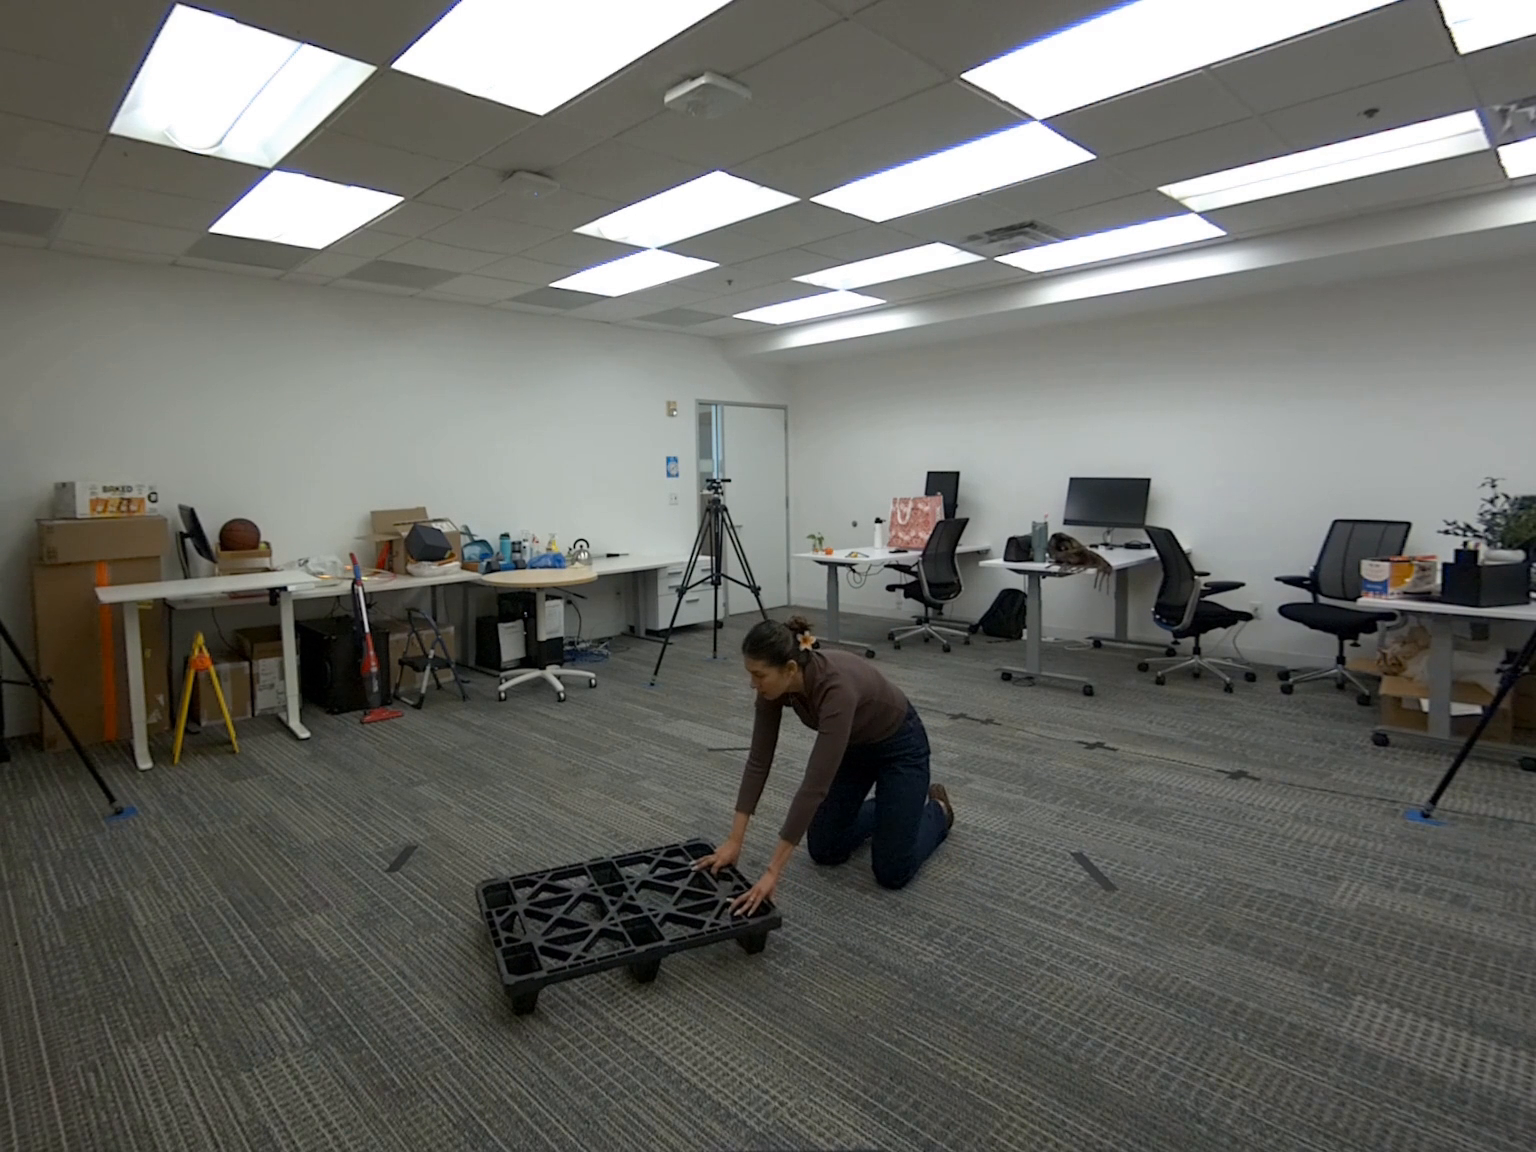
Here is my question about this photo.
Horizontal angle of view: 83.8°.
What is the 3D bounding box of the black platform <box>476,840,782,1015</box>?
[{"bbox_3d":[-0.428,1.045,2.596,0.789,0.142,0.621,-5,8,-25],"label":"black platform"}]
